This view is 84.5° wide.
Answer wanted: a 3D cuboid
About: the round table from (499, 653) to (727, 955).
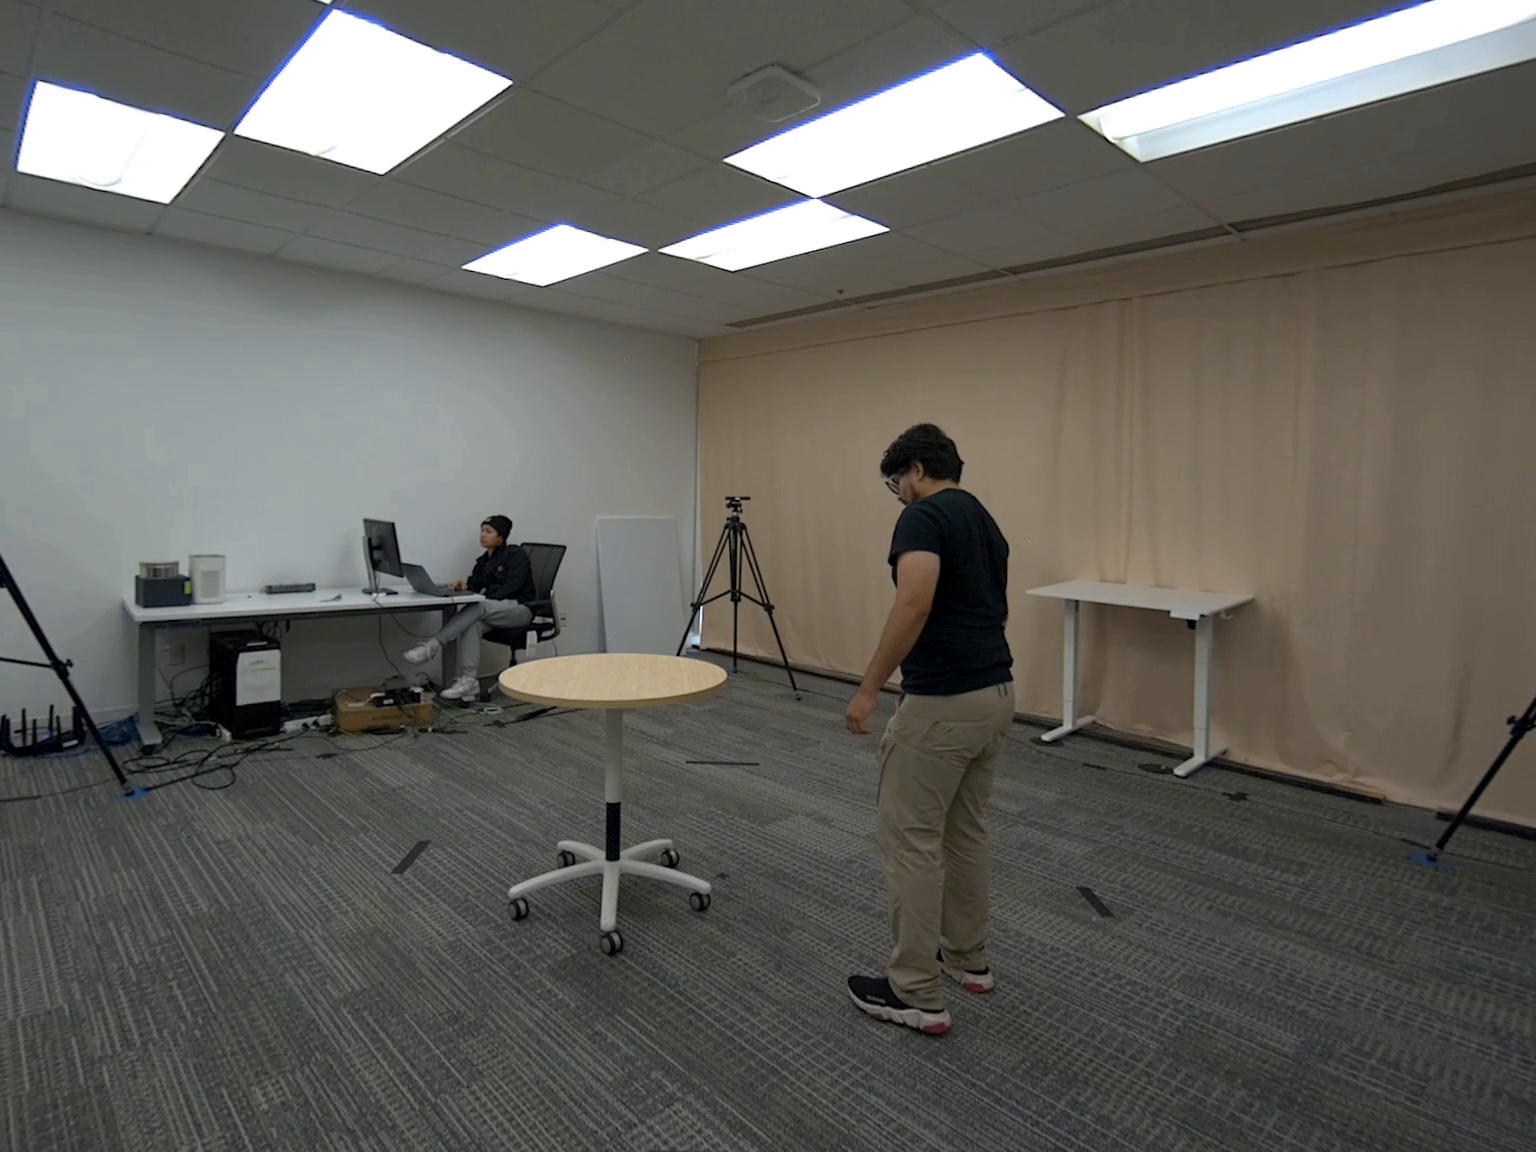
[{"bbox_3d":[-0.520,0.724,2.883,0.784,0.784,0.788,1,4,-1],"label":"round table"}]
